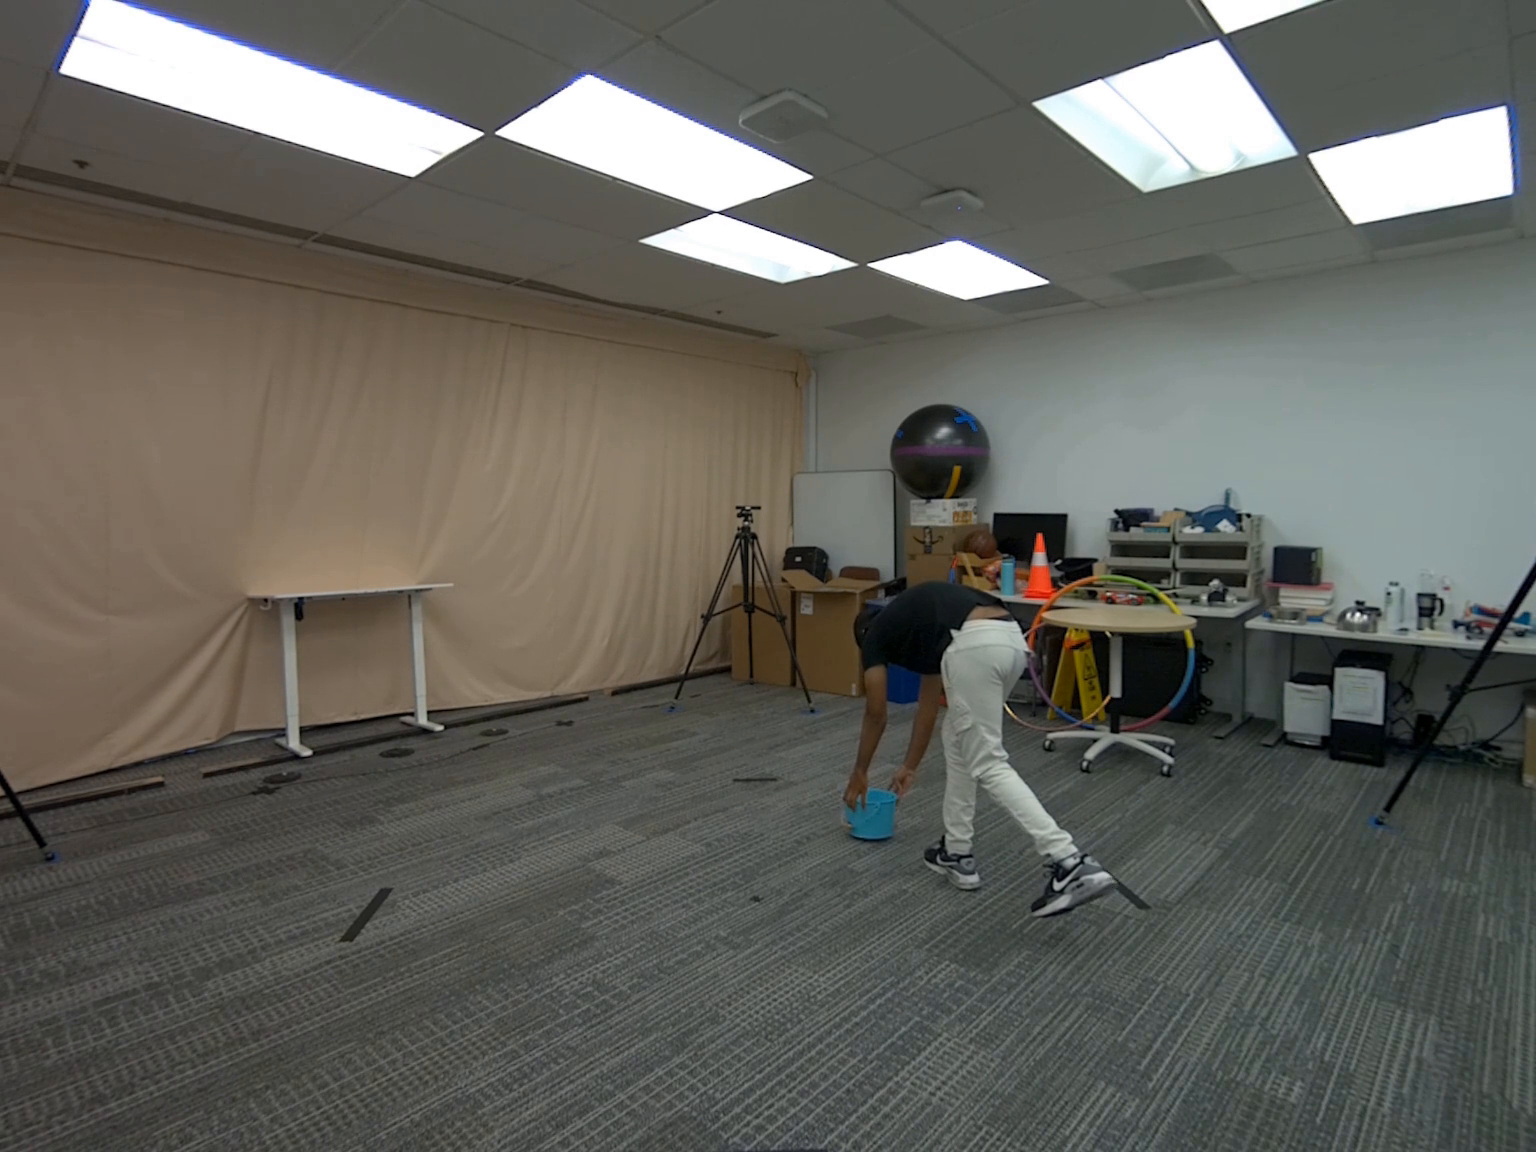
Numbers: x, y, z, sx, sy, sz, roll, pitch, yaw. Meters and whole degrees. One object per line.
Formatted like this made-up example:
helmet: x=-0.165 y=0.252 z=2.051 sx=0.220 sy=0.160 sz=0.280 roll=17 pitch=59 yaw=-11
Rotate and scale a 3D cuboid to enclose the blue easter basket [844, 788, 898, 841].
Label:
blue easter basket: x=0.428 y=1.007 z=3.568 sx=0.243 sy=0.156 sz=0.244 roll=0 pitch=-1 yaw=-2
